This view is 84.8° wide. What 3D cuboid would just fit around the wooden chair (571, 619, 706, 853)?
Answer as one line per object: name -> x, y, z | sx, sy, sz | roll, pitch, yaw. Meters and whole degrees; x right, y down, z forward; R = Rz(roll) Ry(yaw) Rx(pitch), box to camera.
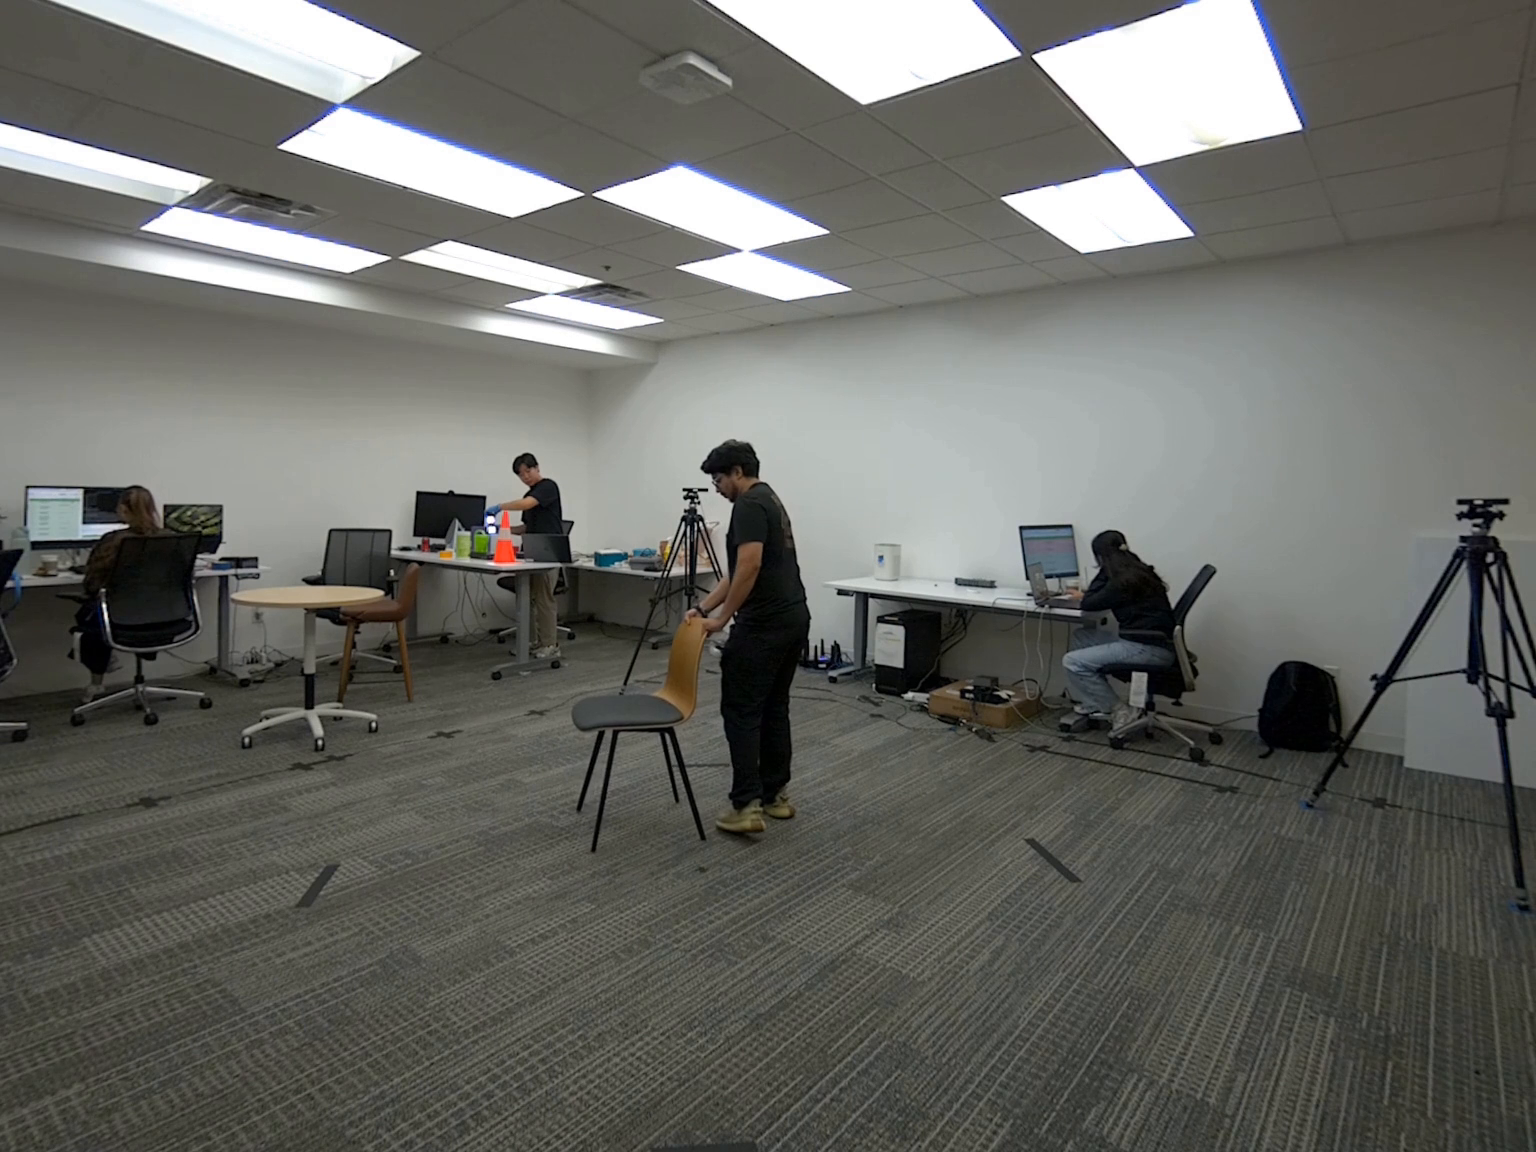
wooden chair -> -0.547, 0.598, 3.477 | 0.513, 0.875, 0.489 | 5, 3, -19
